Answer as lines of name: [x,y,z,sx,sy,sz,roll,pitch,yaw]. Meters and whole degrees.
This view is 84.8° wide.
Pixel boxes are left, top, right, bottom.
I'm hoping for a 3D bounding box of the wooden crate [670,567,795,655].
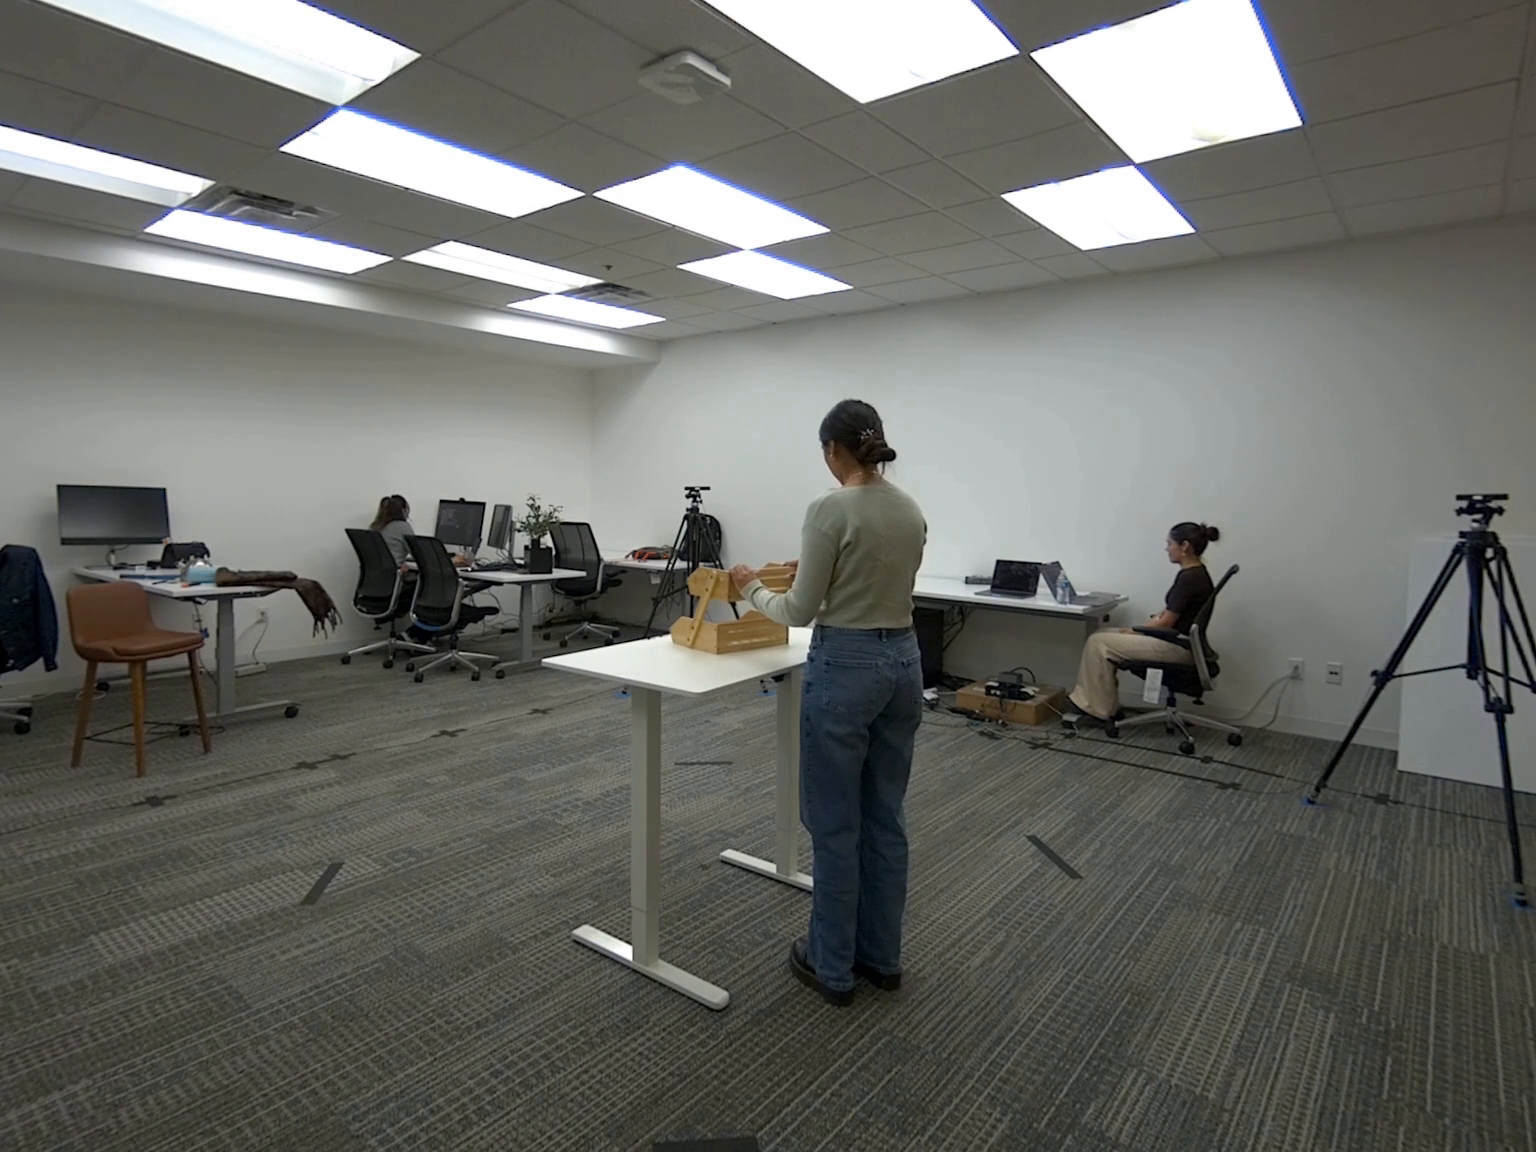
wooden crate: [-0.118,0.089,2.745,0.315,0.272,0.312,-4,7,-40]
